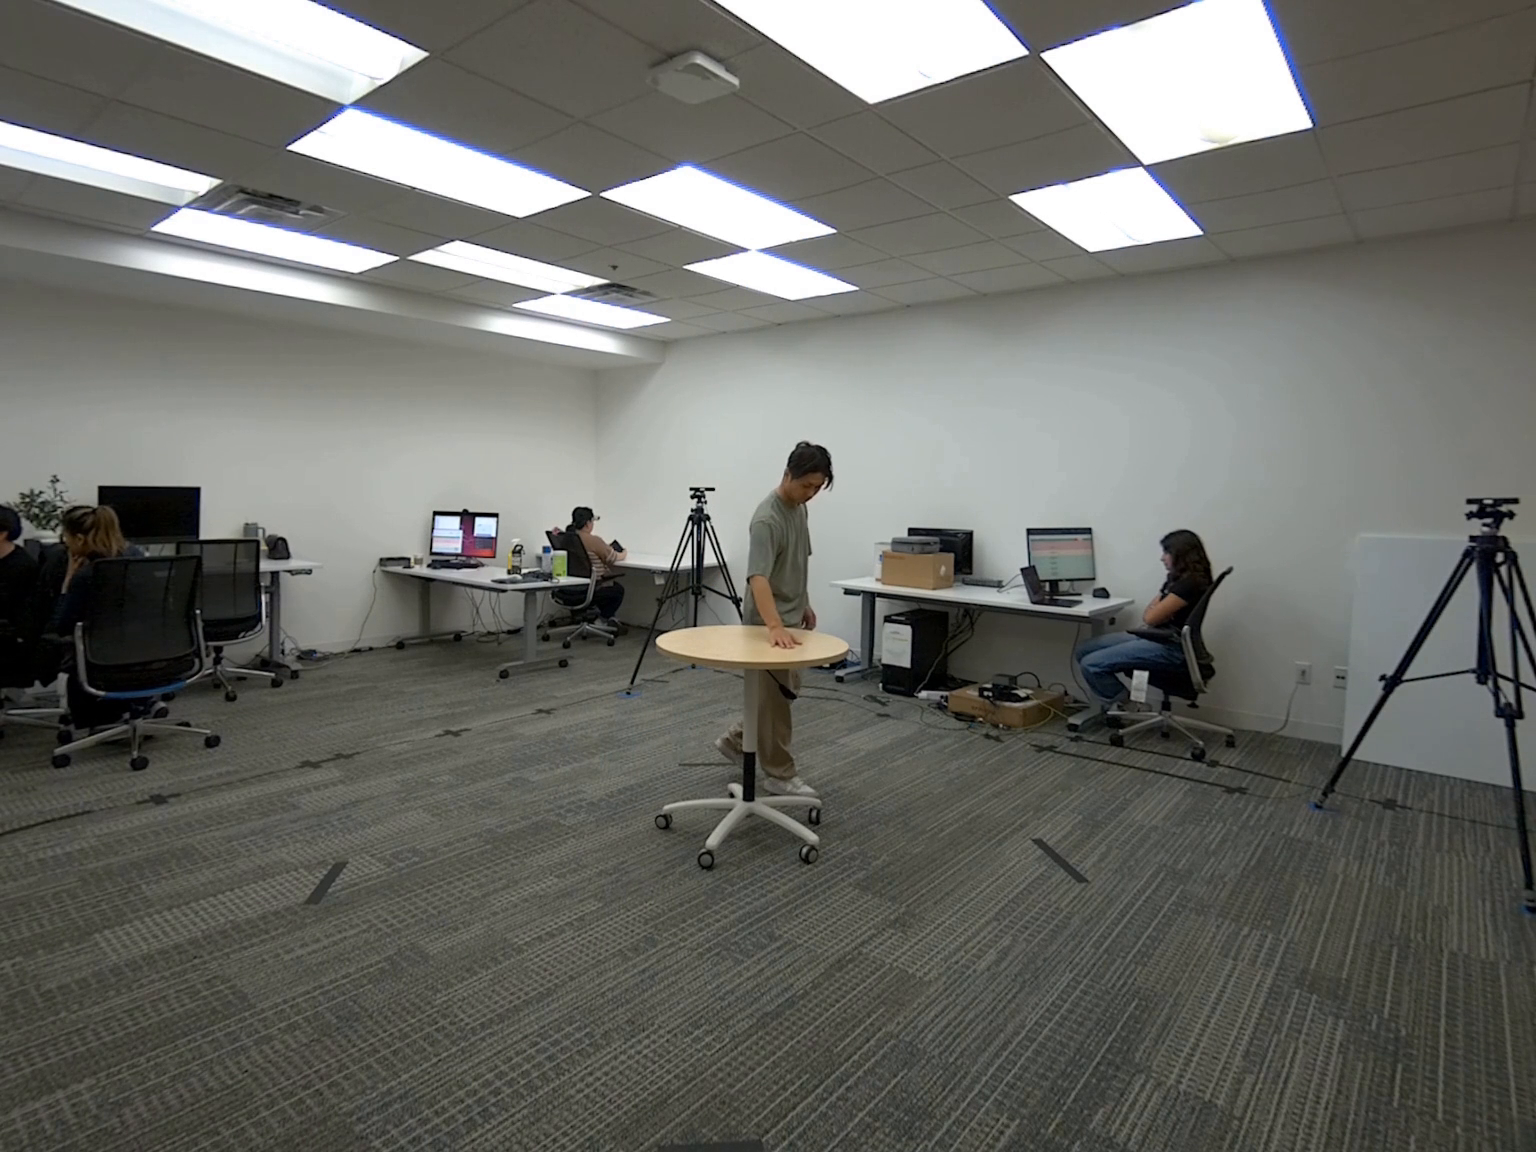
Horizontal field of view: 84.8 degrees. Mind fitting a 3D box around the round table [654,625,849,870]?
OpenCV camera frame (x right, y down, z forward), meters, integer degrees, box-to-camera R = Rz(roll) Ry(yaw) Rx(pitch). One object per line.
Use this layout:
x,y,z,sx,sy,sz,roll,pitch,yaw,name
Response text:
-0.085,0.653,3.409,0.763,0.791,0.768,1,4,-2,round table
